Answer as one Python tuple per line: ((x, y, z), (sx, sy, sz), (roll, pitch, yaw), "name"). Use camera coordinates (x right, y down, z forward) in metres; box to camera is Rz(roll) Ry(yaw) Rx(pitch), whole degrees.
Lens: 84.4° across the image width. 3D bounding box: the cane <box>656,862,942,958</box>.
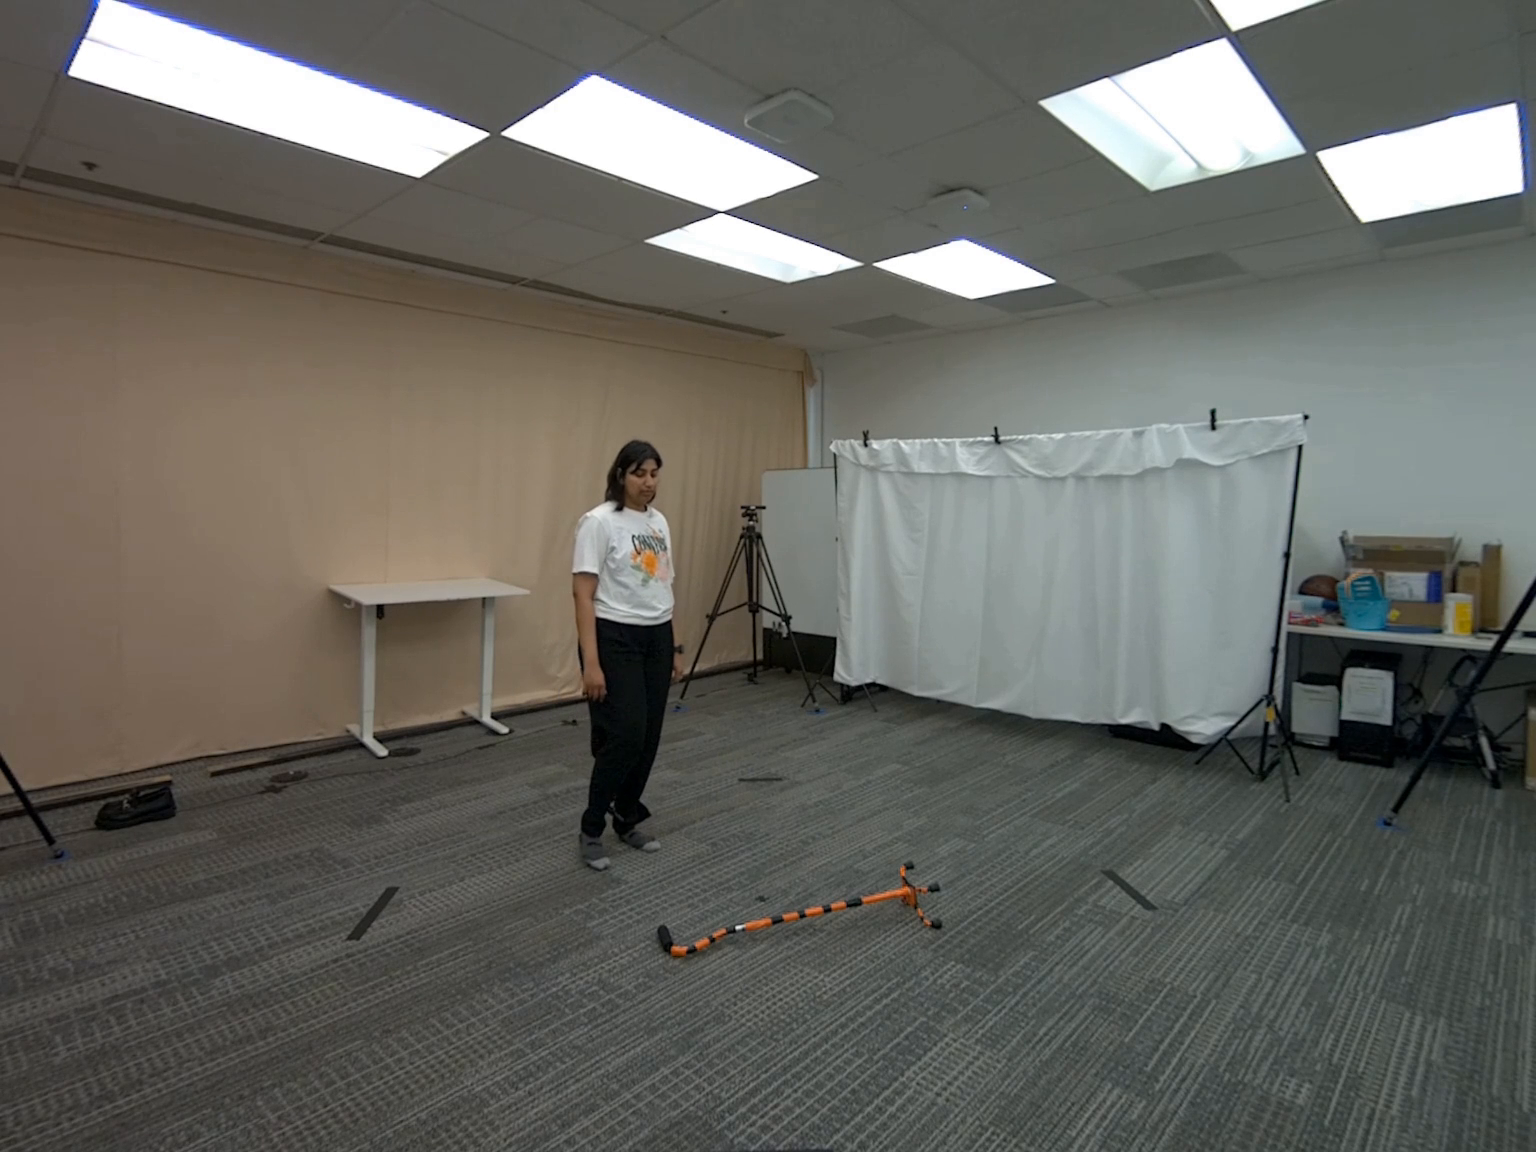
((0.109, 1.117, 2.746), (0.896, 0.151, 0.210), (-6, 7, -13), "cane")
